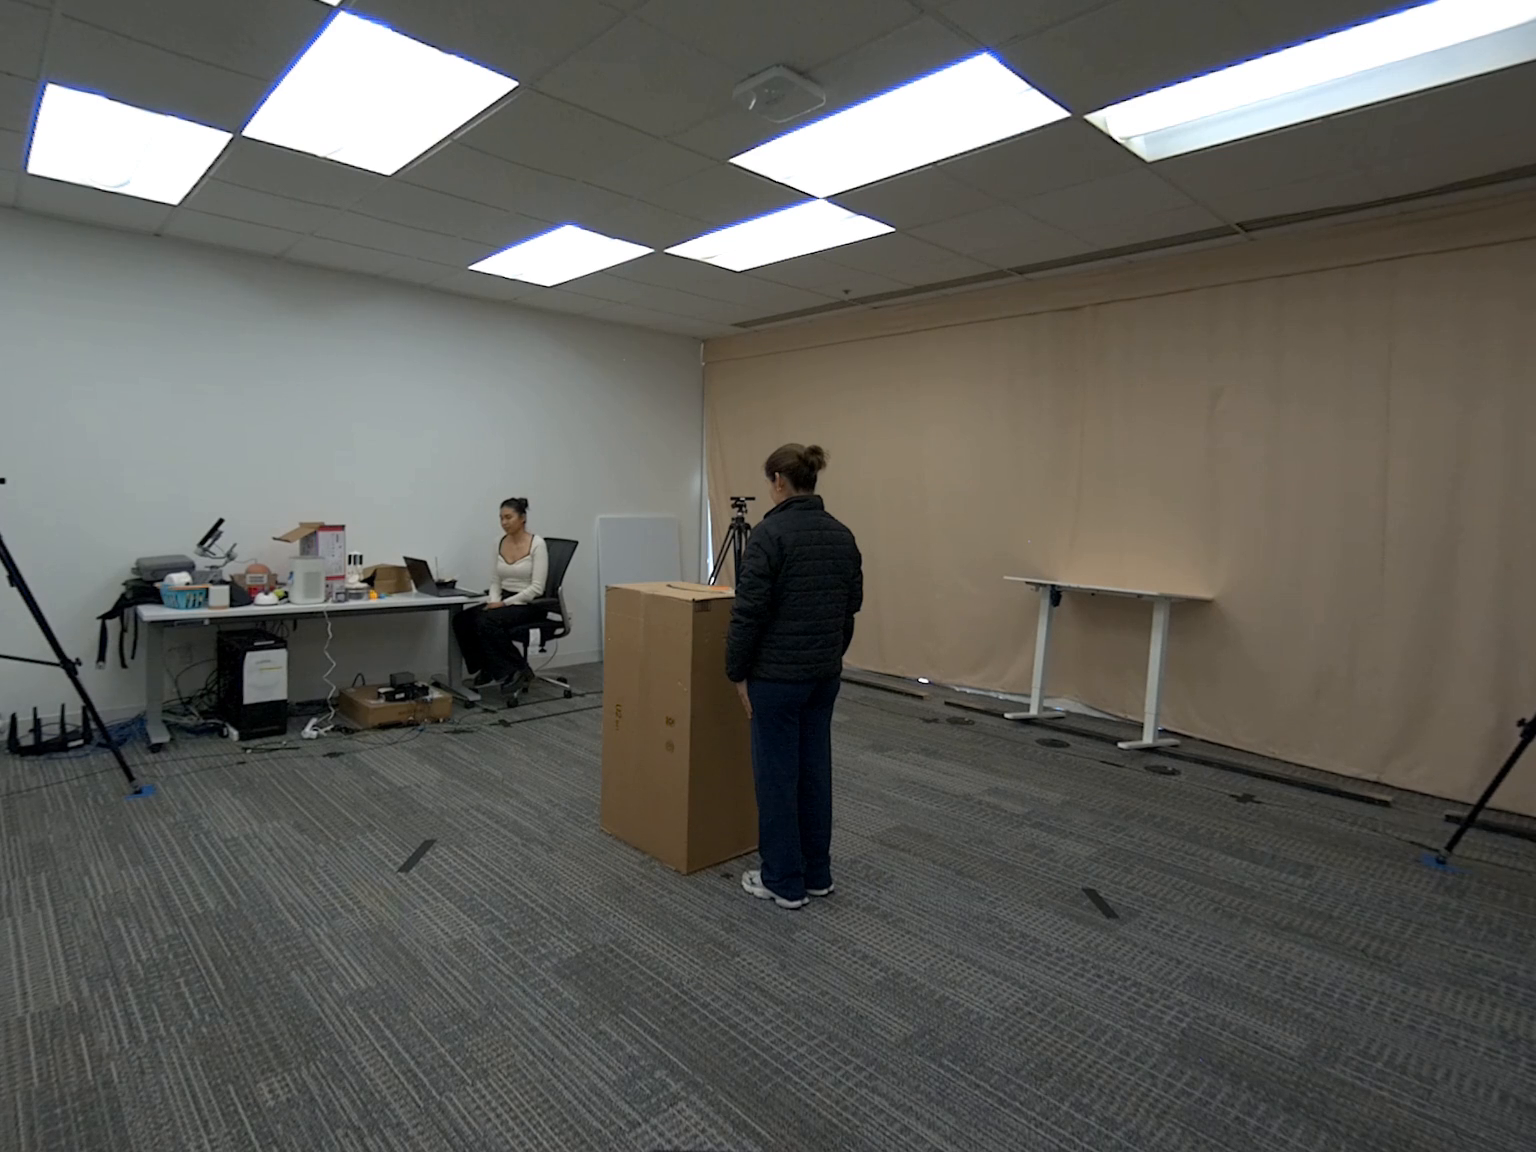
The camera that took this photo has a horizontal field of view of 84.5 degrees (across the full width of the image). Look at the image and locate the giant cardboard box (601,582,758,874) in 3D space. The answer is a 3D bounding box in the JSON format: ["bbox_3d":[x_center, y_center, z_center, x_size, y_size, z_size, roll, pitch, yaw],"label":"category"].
[{"bbox_3d":[-0.342,0.563,3.416,0.436,1.025,0.599,0,4,-42],"label":"giant cardboard box"}]
